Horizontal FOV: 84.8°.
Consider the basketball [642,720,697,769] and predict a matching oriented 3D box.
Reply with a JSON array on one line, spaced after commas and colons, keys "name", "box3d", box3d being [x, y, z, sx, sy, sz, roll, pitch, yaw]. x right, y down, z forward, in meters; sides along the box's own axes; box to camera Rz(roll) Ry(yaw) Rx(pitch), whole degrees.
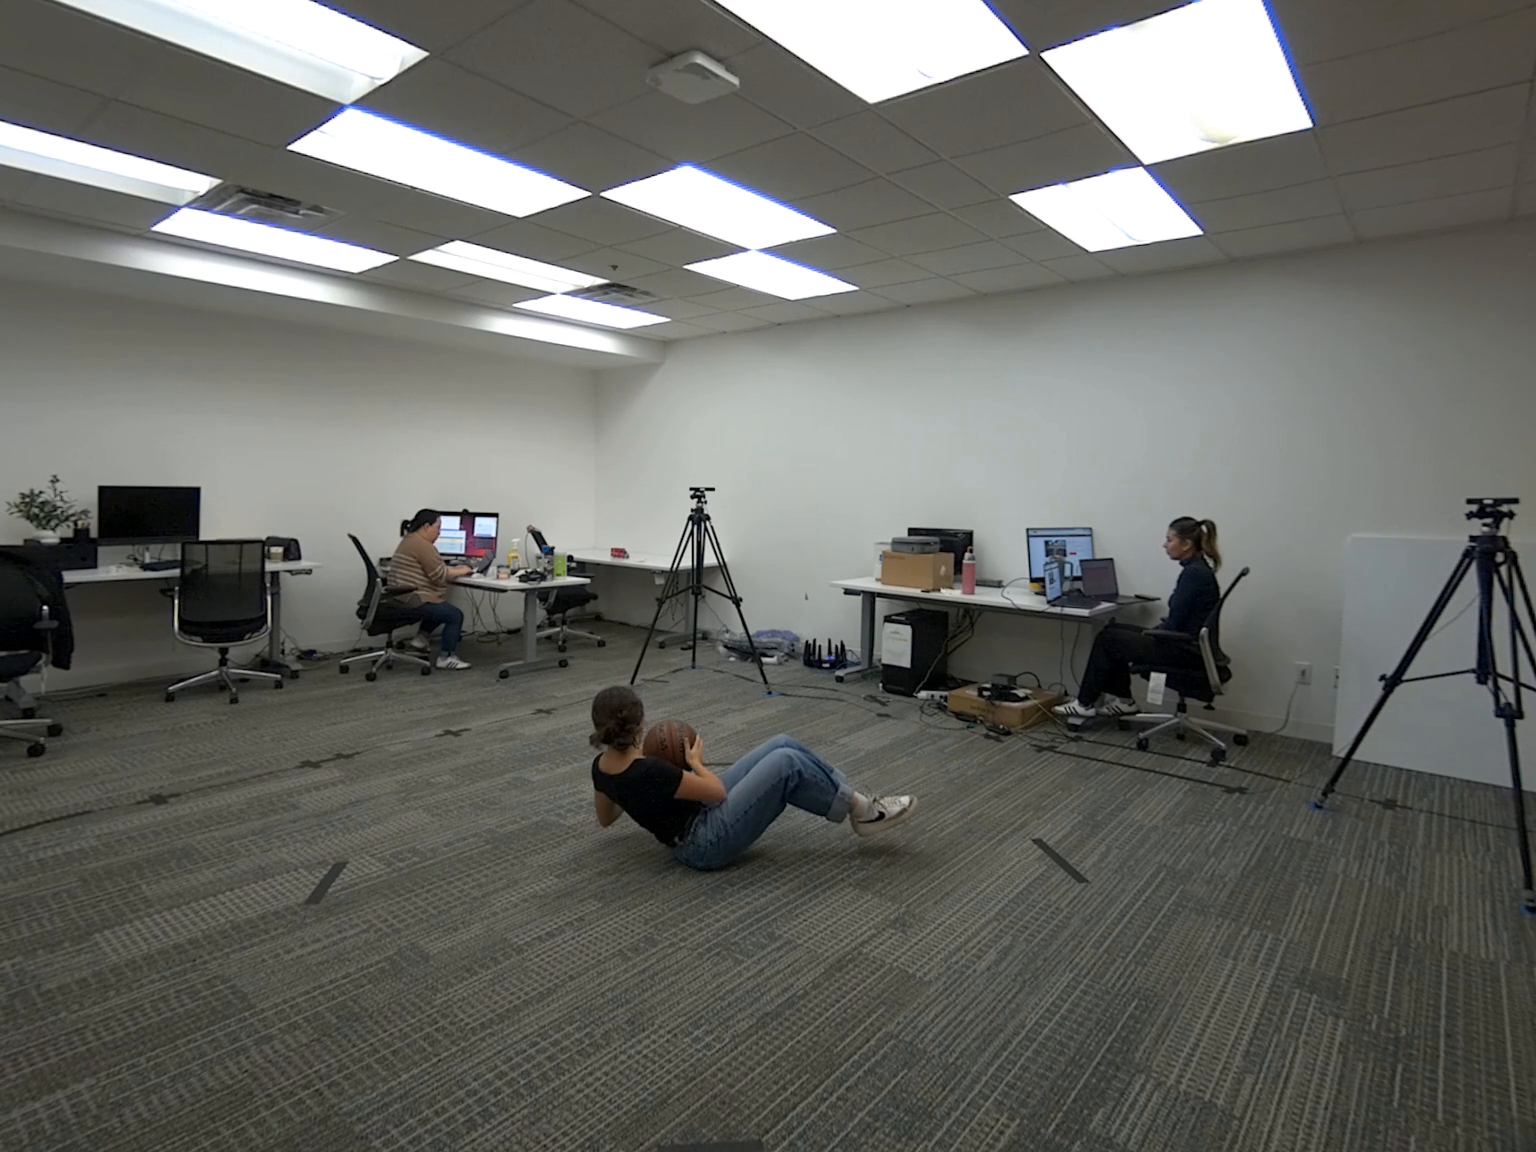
[{"name": "basketball", "box3d": [-0.399, 0.707, 3.466, 0.235, 0.235, 0.237, 1, 4, -2]}]
